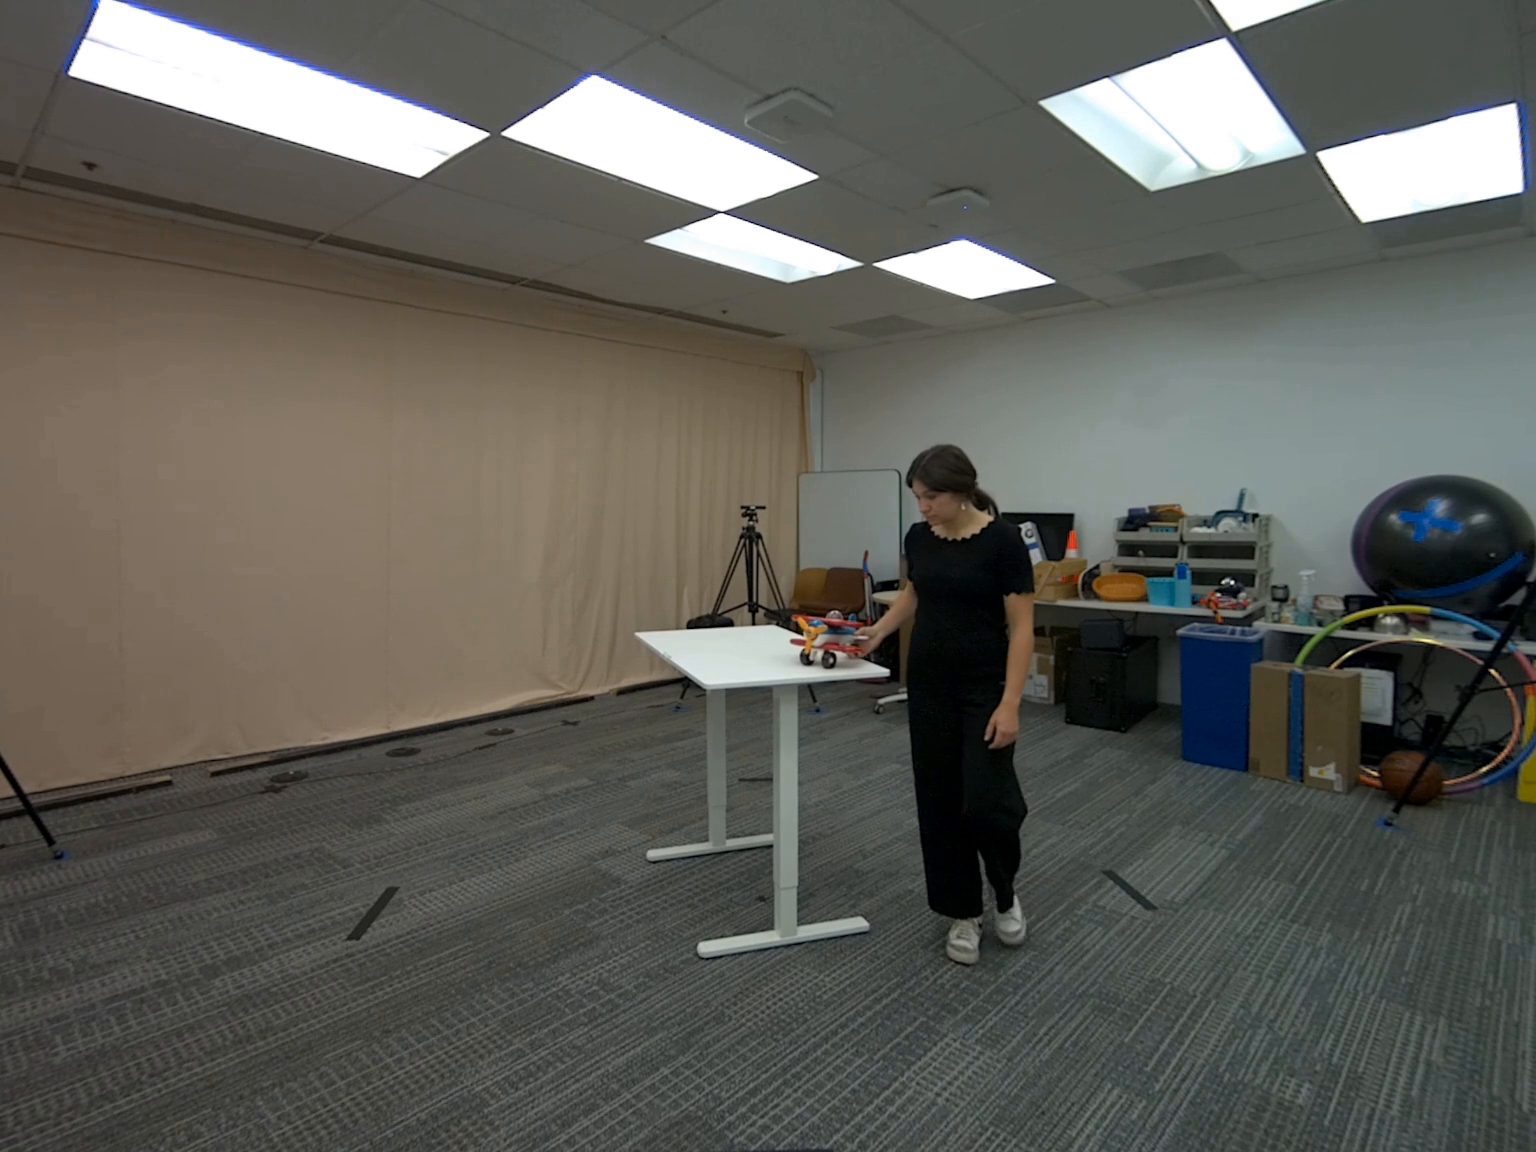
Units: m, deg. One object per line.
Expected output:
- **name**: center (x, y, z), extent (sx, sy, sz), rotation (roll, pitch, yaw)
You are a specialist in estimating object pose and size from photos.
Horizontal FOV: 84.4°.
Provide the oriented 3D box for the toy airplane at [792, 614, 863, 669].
- **toy airplane**: center (0.199, 0.201, 2.736), extent (0.255, 0.155, 0.257), rotation (0, 10, 14)
